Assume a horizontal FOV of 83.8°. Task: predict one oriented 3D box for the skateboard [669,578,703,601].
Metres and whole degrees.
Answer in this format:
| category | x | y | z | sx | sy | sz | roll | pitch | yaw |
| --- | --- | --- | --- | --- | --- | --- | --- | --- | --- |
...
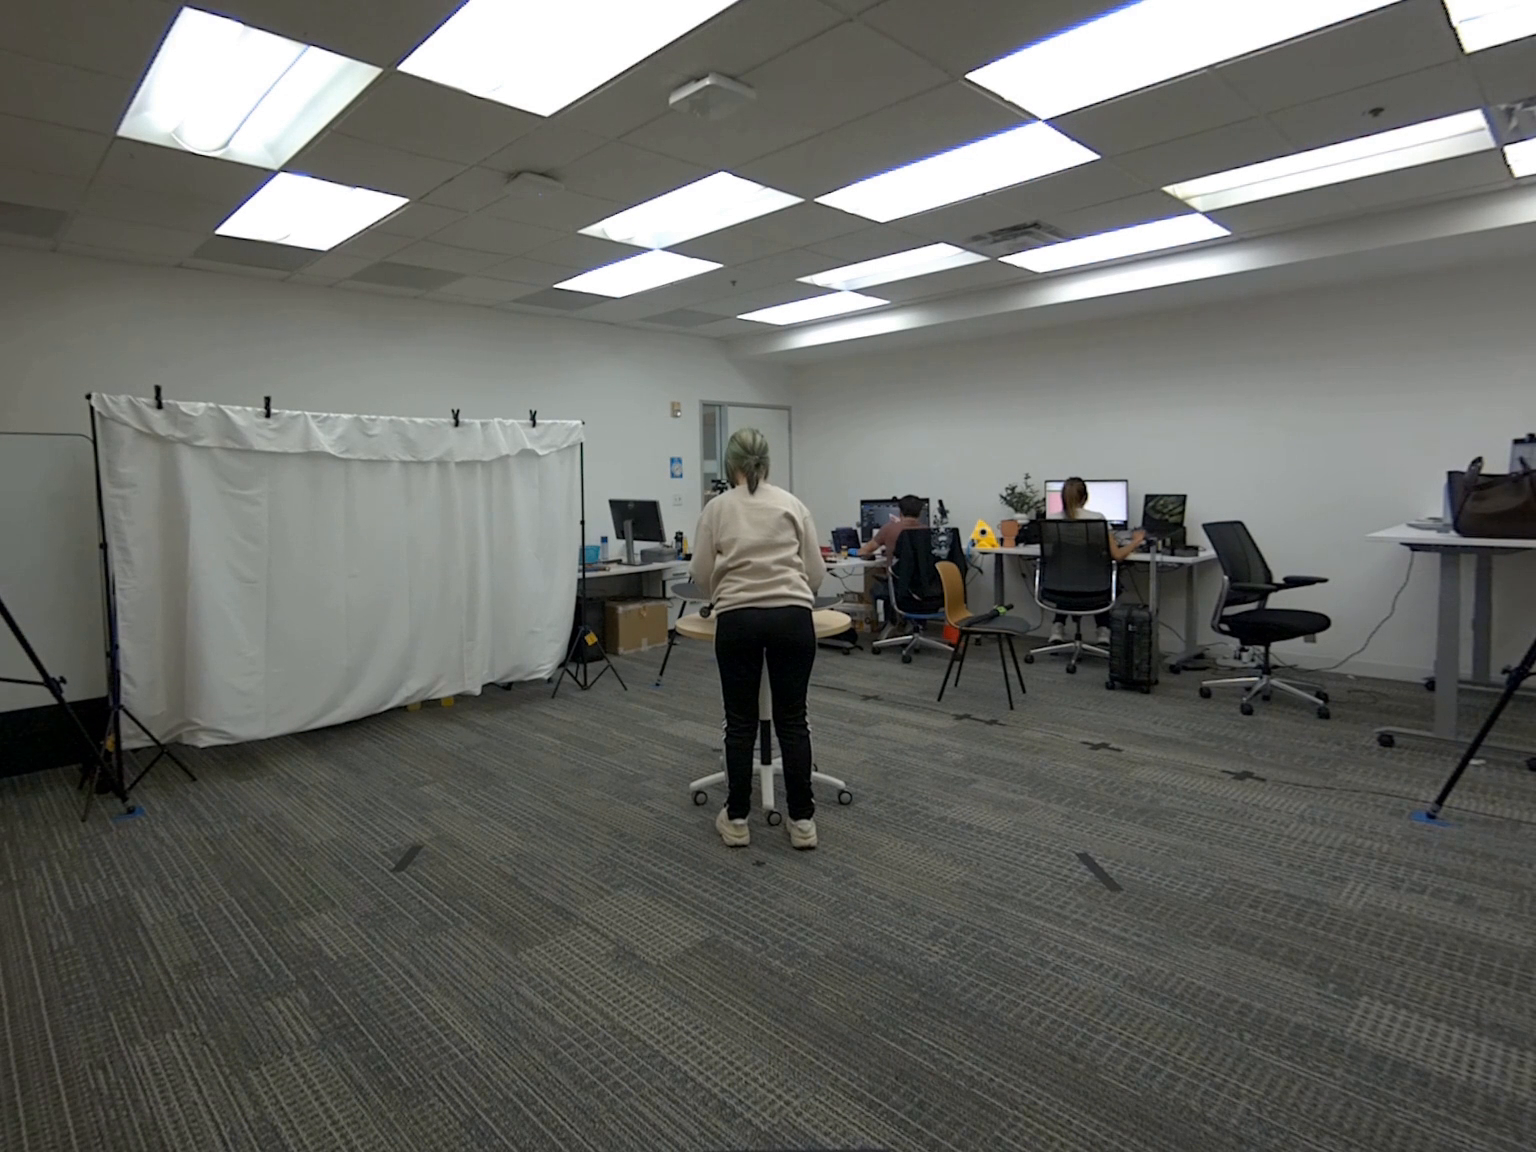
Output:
| category | x | y | z | sx | sy | sz | roll | pitch | yaw |
| --- | --- | --- | --- | --- | --- | --- | --- | --- | --- |
| skateboard | -0.050 | 0.126 | 3.670 | 0.805 | 0.109 | 0.191 | 5 | 16 | 26 |
